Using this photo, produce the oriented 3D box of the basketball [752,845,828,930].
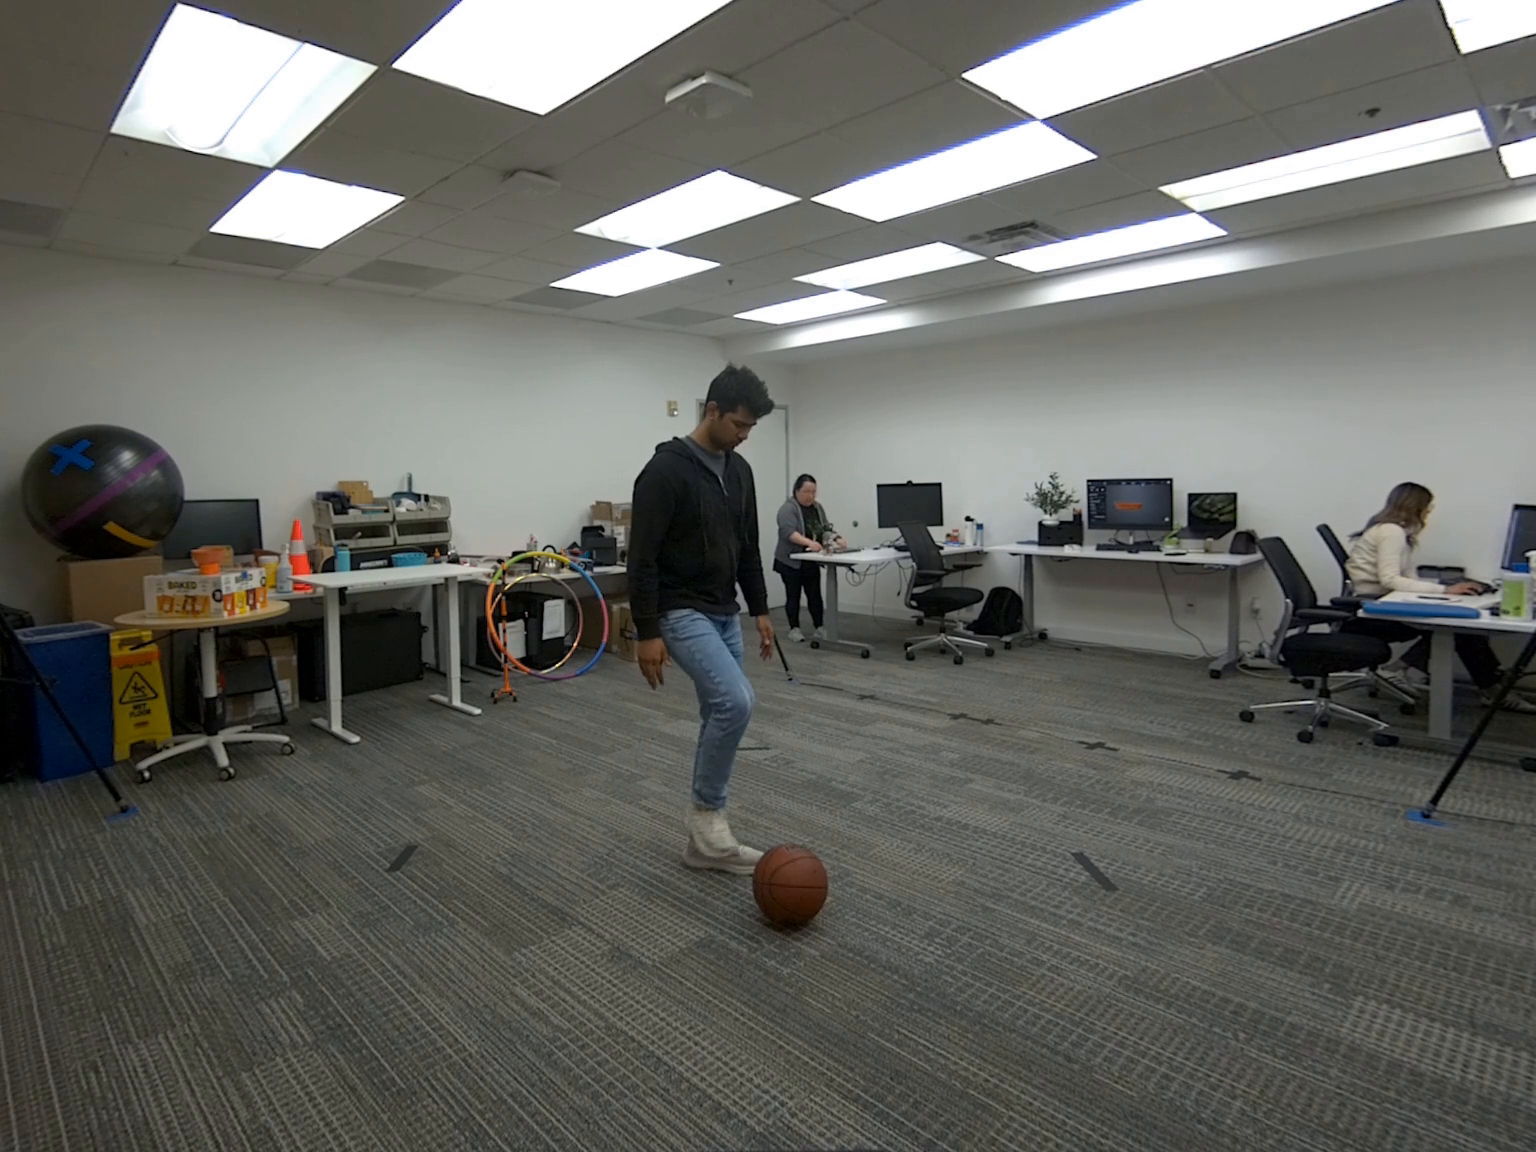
[{"bbox_3d":[0.072,0.969,2.694,0.236,0.235,0.237,-1,5,-2],"label":"basketball"}]
